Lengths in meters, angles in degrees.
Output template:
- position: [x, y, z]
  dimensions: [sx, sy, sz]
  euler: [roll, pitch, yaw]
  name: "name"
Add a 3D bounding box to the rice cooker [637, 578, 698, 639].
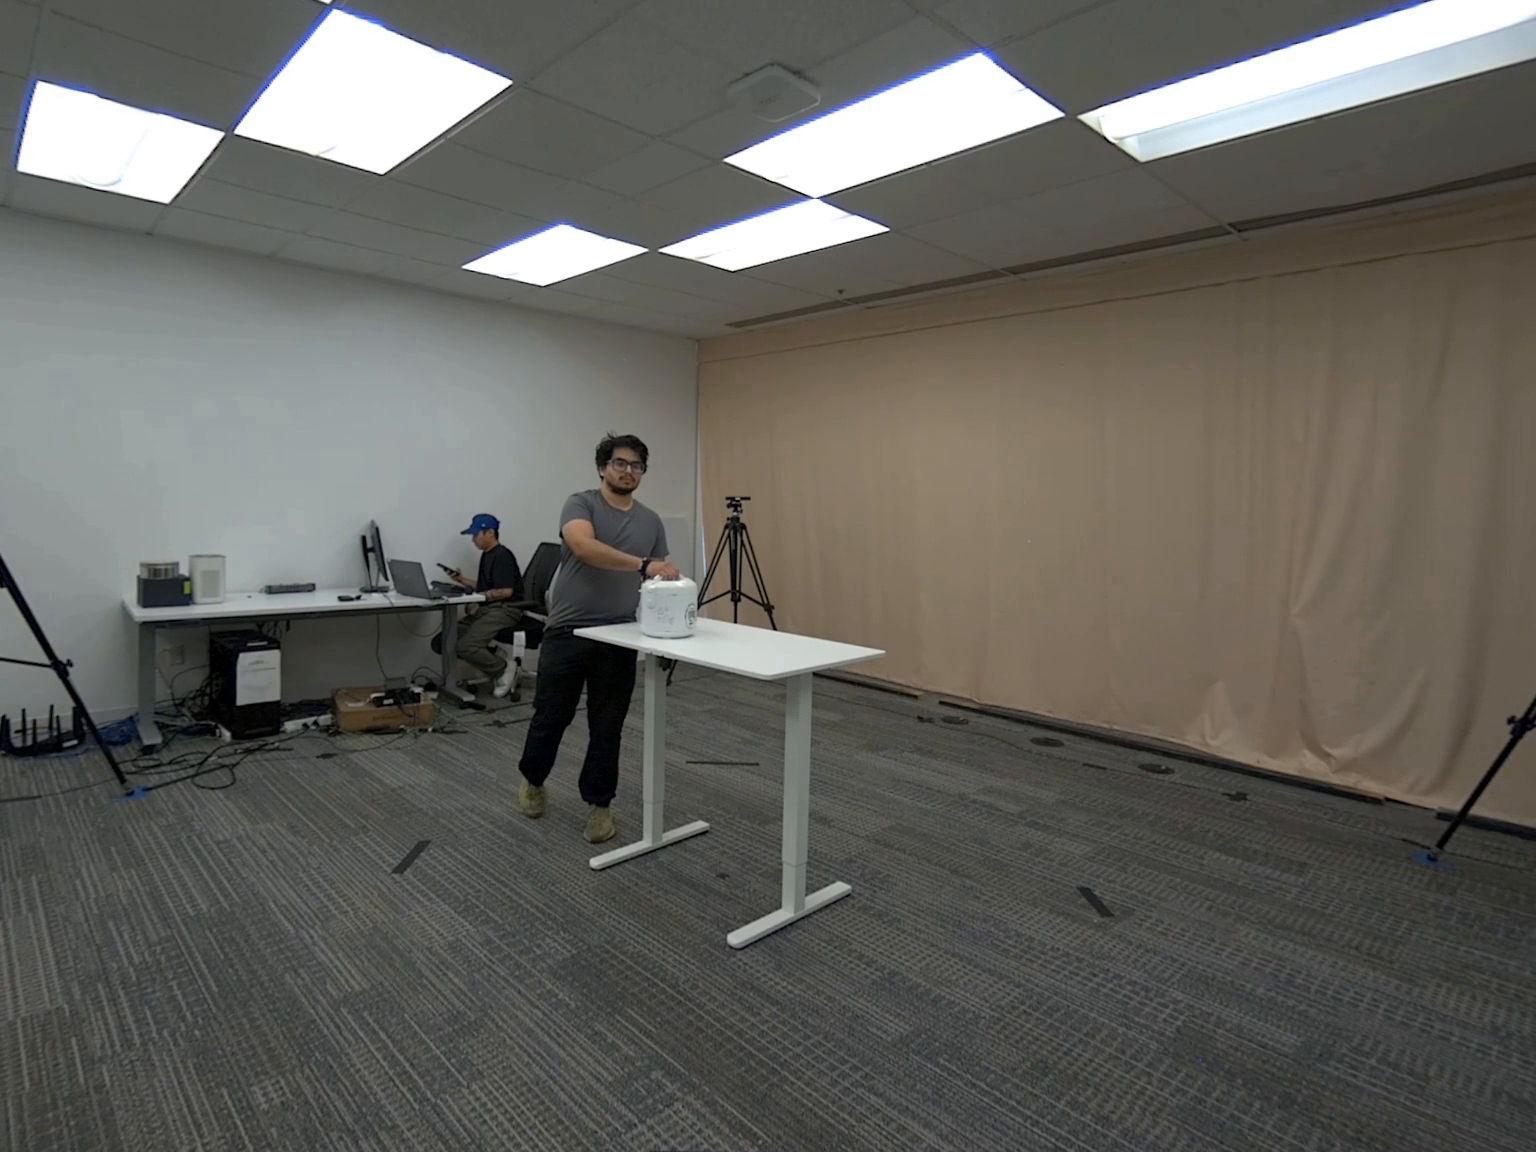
- position: [-0.368, 0.103, 3.095]
  dimensions: [0.222, 0.232, 0.216]
  euler: [3, 5, 35]
  name: "rice cooker"
